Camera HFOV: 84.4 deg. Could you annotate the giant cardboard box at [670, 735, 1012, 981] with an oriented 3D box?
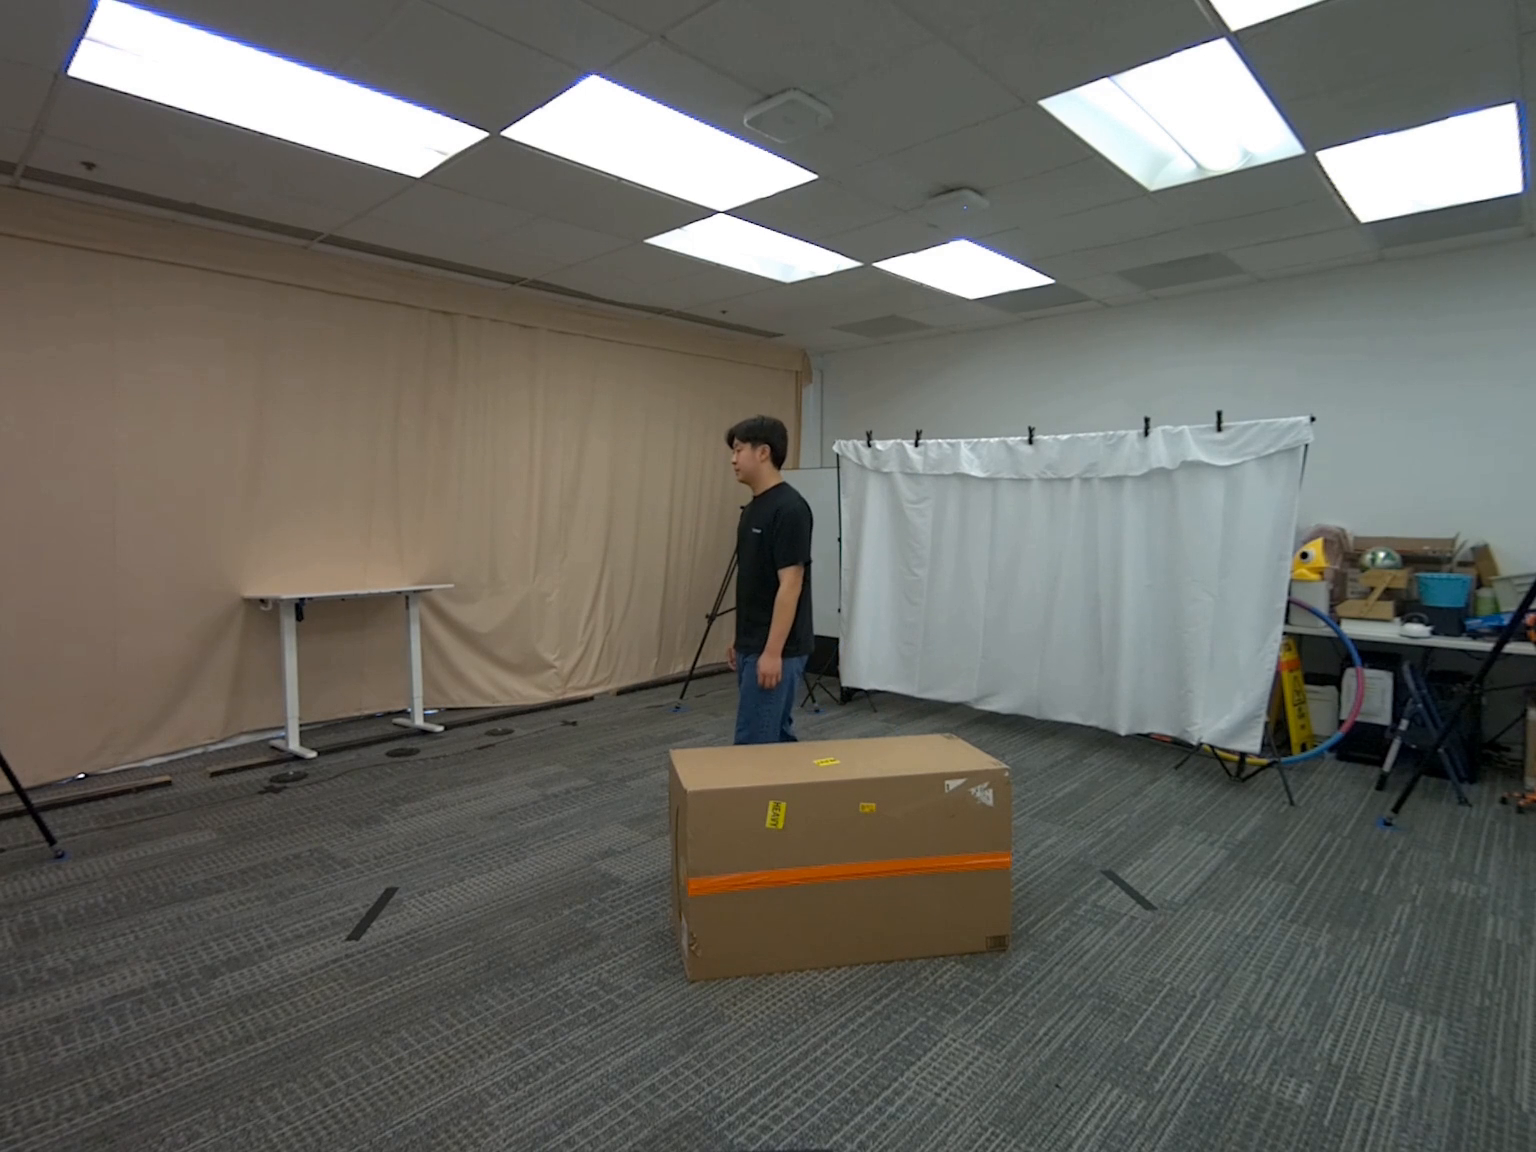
[{"bbox_3d":[0.216,0.876,2.734,1.015,0.582,0.453,-2,5,-11],"label":"giant cardboard box"}]
